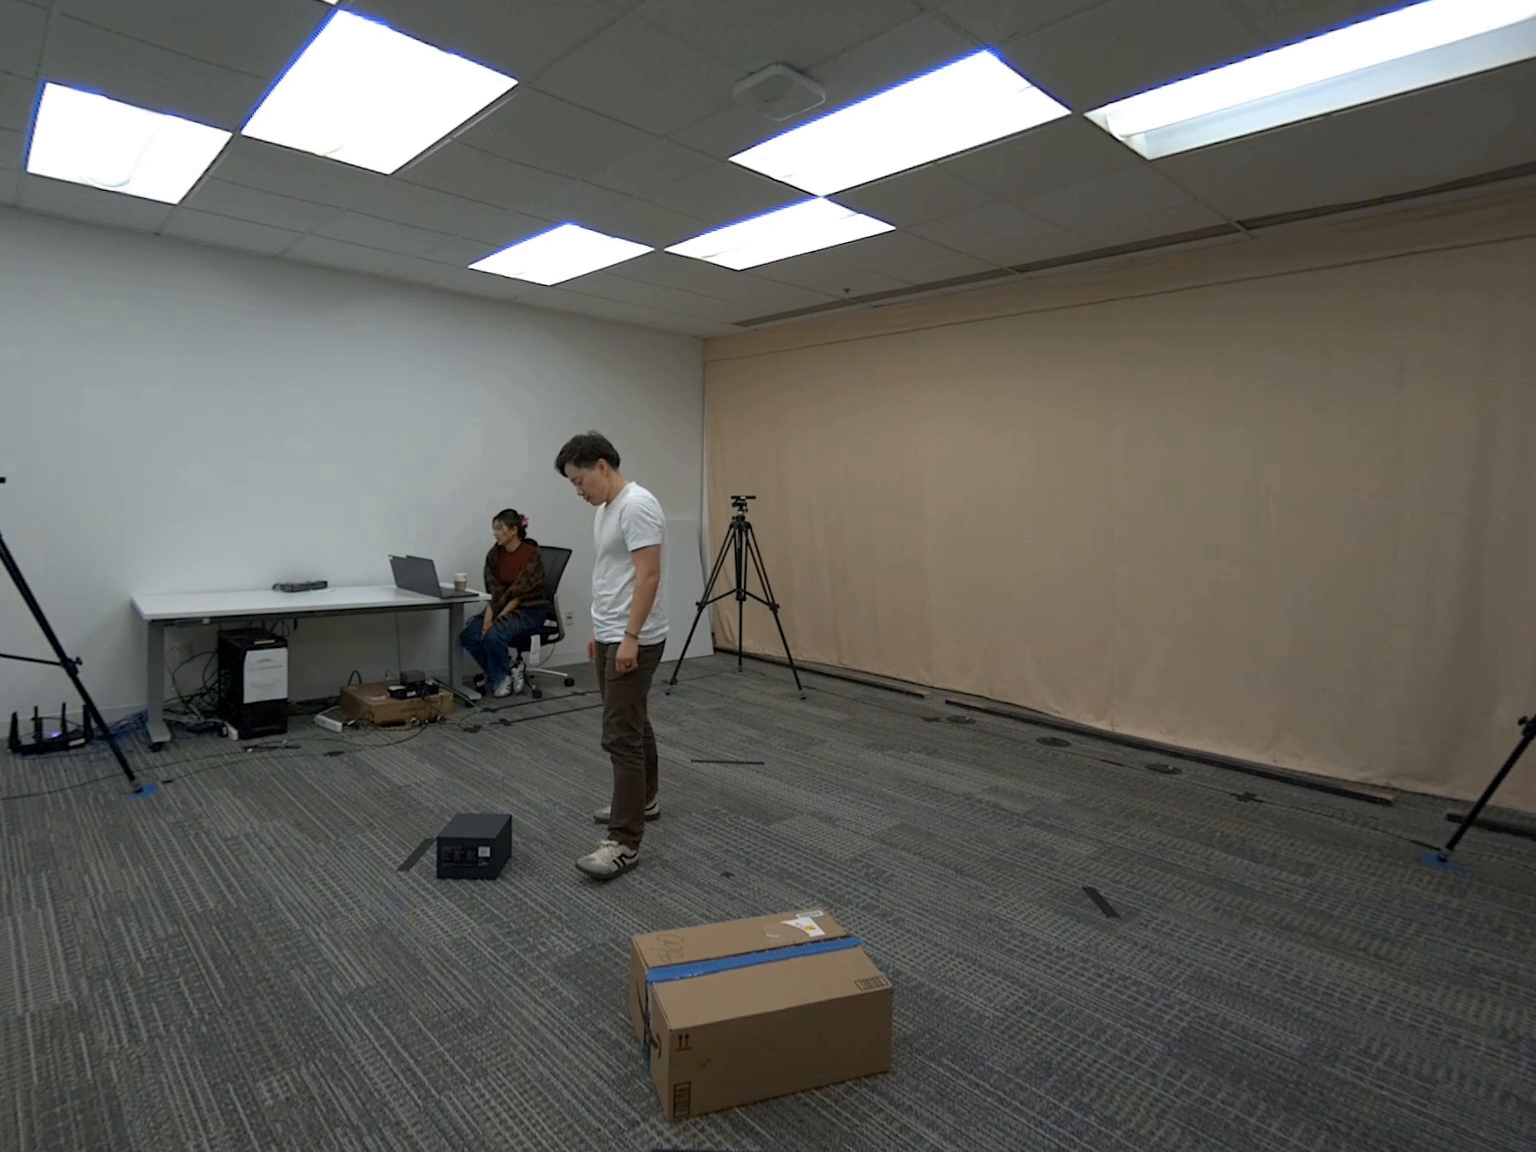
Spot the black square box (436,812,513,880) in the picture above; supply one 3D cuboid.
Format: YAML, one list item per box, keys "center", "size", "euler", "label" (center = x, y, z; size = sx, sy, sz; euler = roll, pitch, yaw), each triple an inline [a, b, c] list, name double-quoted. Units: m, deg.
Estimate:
- center: [-1.098, 0.997, 3.121]
  size: [0.217, 0.155, 0.229]
  euler: [1, 5, -1]
  label: "black square box"
